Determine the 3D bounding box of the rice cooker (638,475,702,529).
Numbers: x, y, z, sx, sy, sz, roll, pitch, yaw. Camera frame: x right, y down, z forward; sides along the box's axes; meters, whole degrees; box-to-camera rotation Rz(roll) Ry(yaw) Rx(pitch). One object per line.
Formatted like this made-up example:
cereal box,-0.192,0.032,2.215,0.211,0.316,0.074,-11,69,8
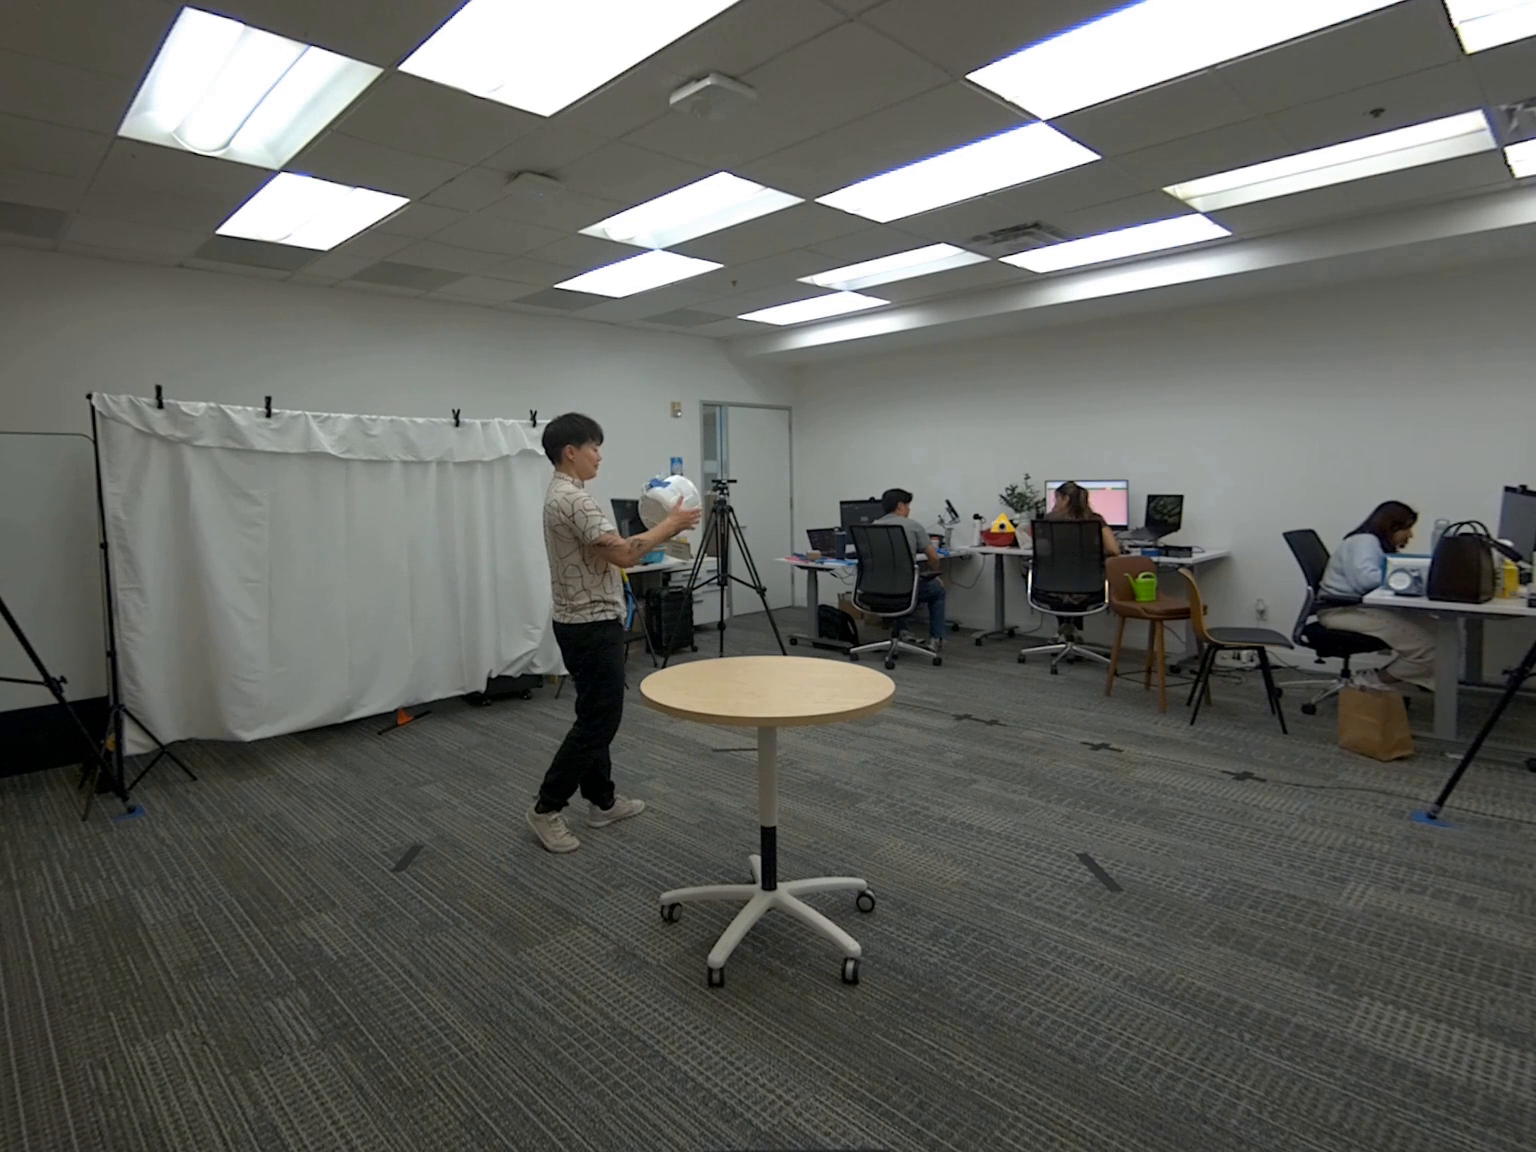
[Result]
rice cooker,-0.402,-0.290,3.555,0.227,0.212,0.231,25,41,24
